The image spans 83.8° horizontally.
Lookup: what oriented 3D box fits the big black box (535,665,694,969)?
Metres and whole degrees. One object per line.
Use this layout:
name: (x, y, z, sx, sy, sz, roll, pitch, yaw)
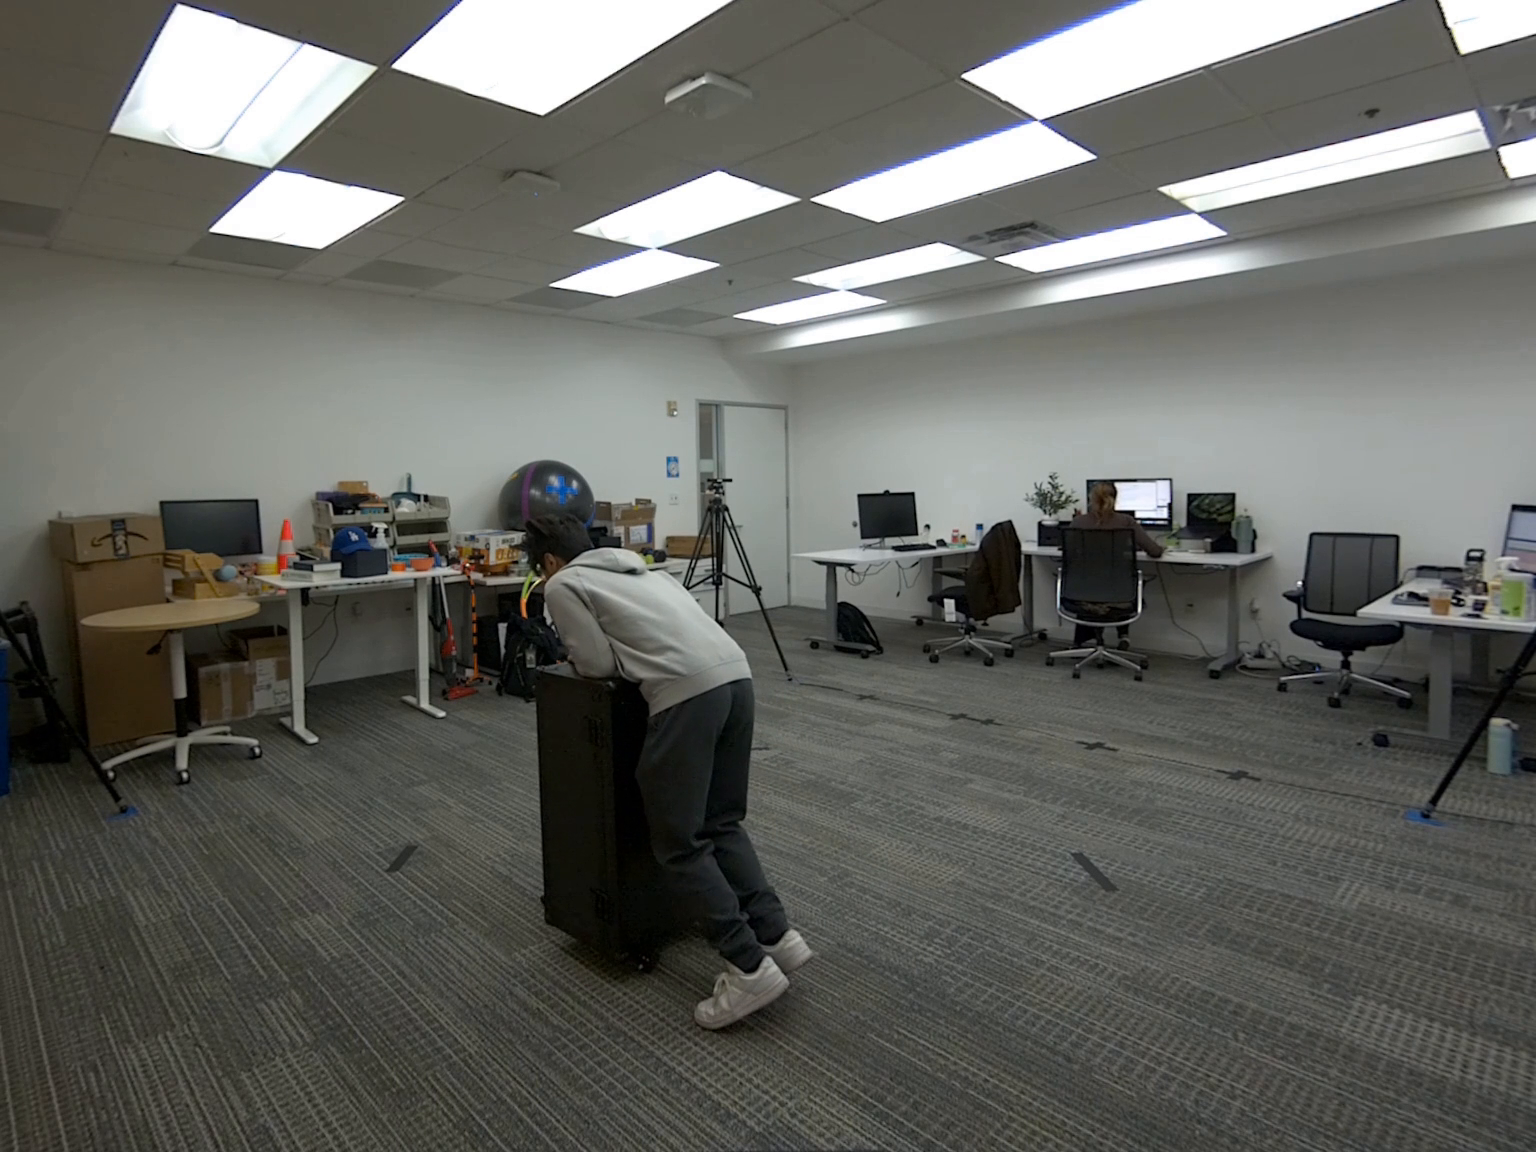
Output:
big black box: (-0.409, 0.687, 2.626, 0.408, 0.859, 0.508, 1, 5, 41)
